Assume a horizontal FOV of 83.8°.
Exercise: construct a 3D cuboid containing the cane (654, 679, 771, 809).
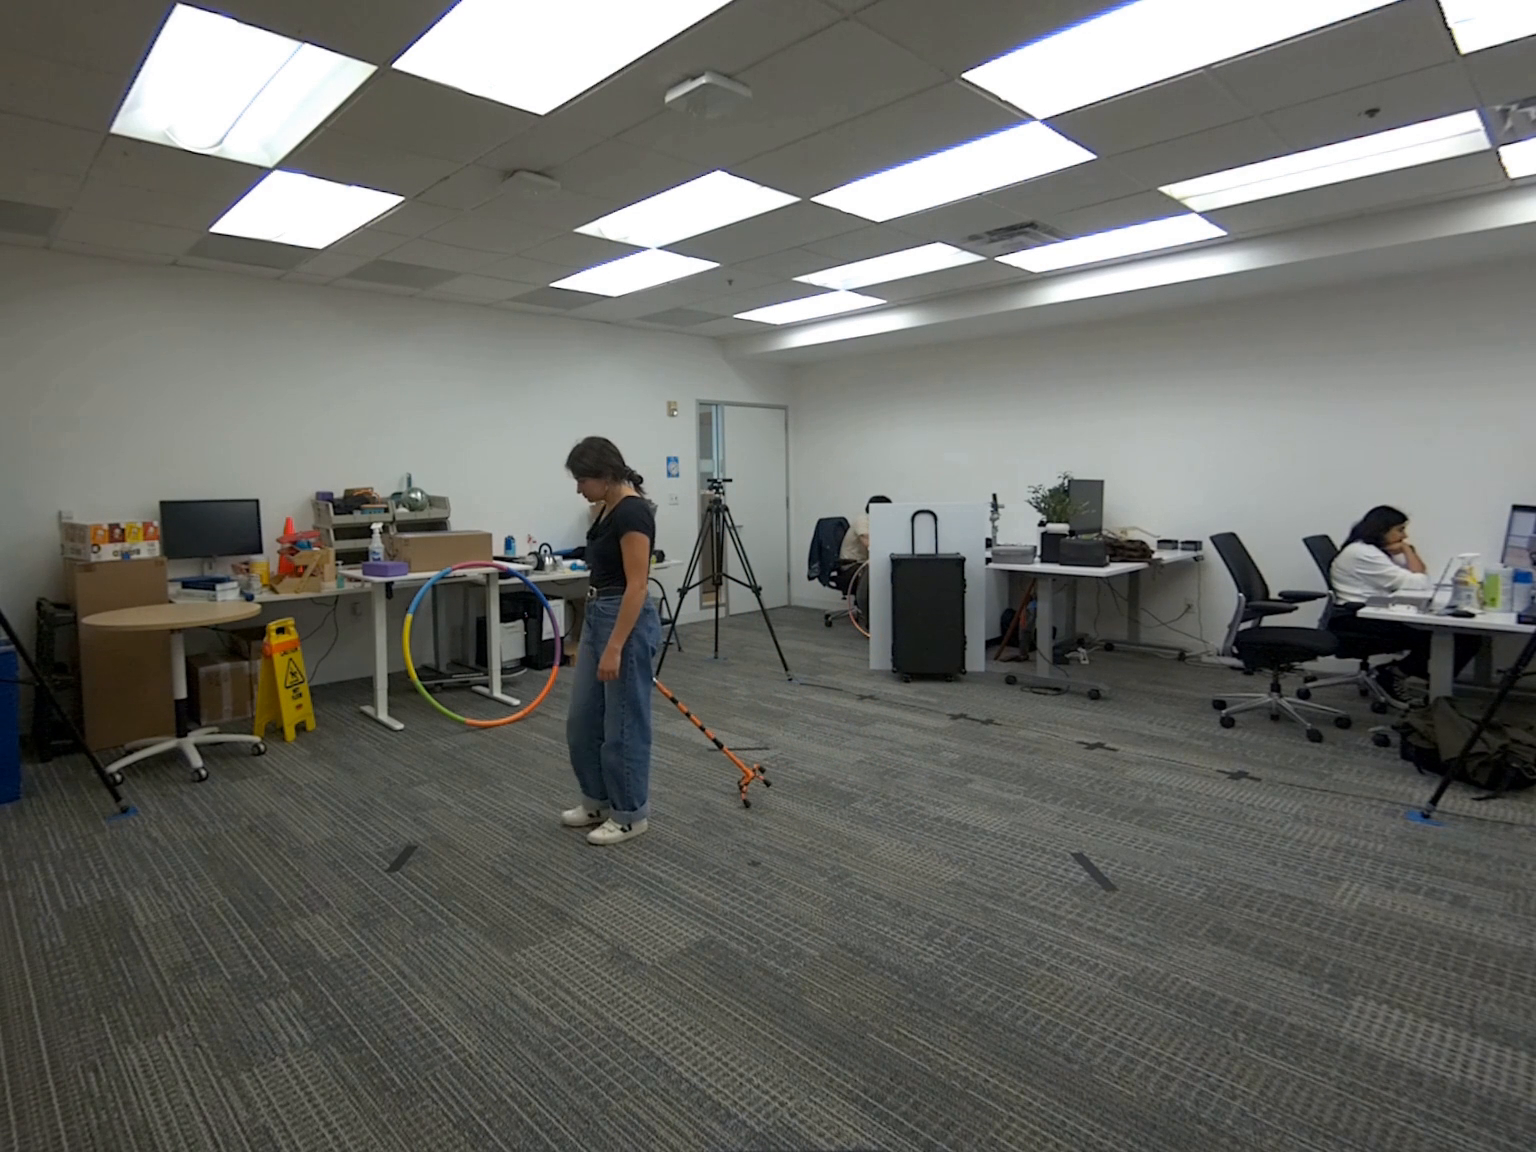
[{"bbox_3d":[-0.358,0.605,3.696,0.151,0.902,0.208,-44,5,0],"label":"cane"}]
